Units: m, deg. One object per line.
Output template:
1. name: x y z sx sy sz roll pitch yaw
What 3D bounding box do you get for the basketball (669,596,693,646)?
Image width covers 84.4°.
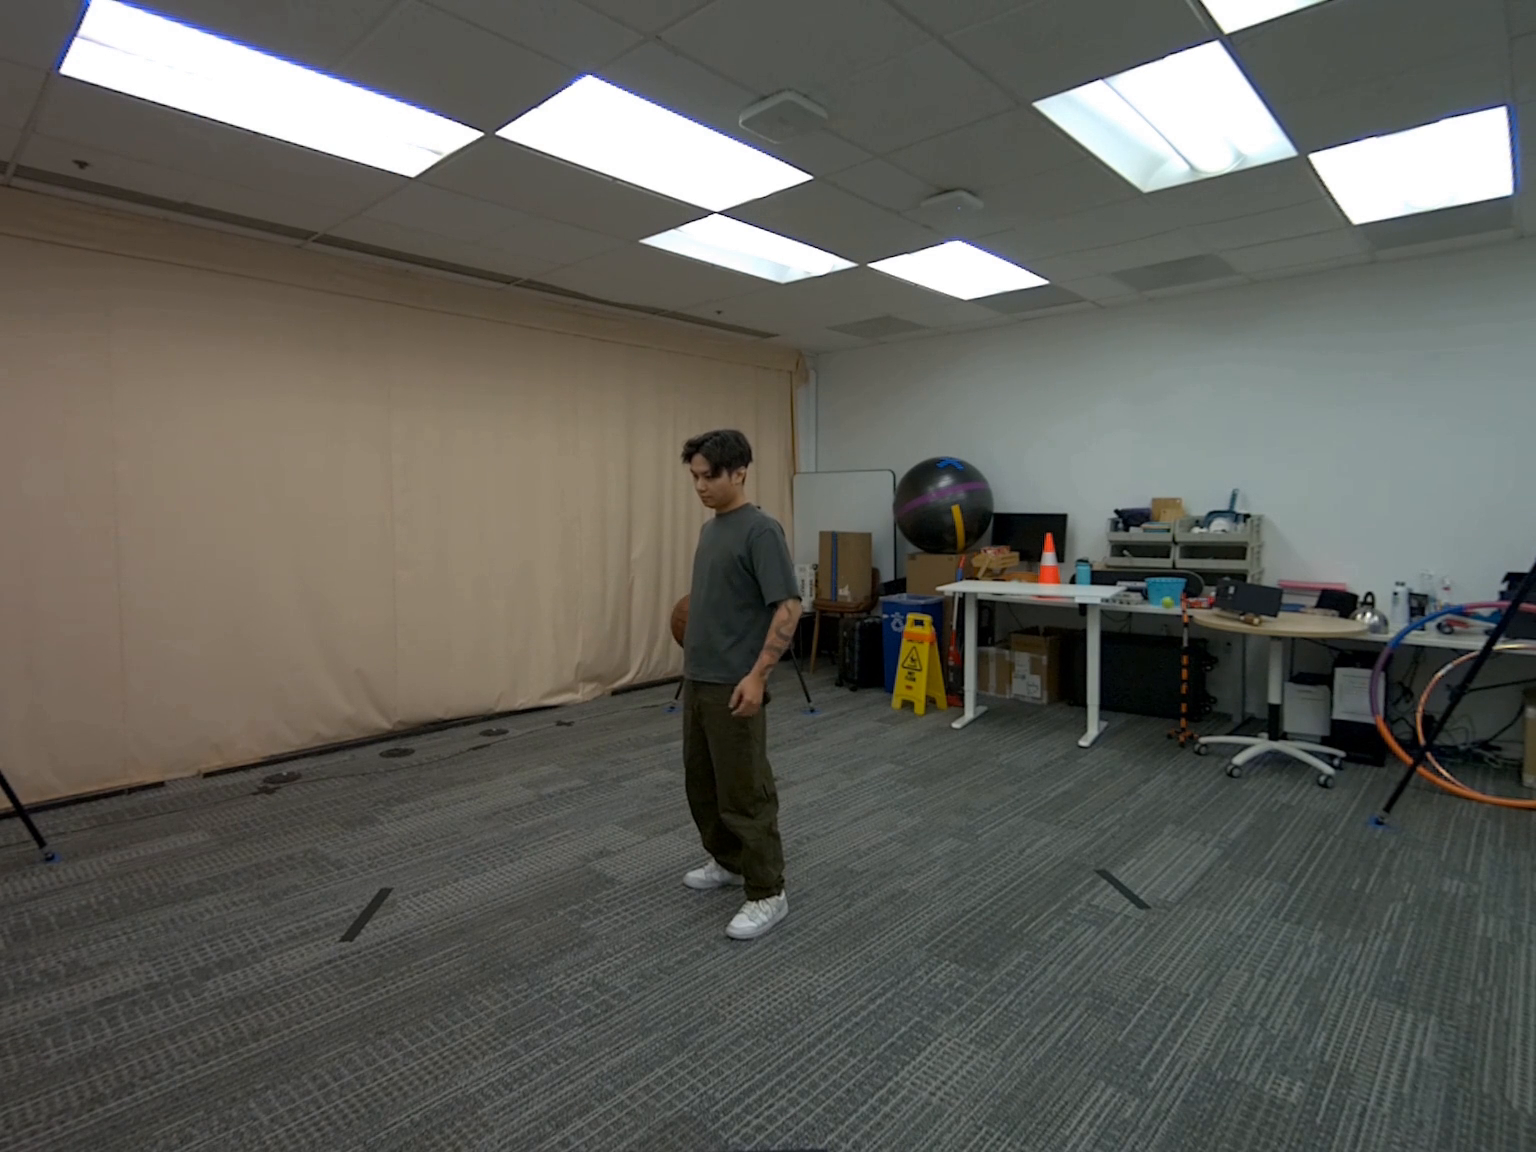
1. basketball: -0.246 0.177 3.124 0.236 0.235 0.237 0 4 -2
